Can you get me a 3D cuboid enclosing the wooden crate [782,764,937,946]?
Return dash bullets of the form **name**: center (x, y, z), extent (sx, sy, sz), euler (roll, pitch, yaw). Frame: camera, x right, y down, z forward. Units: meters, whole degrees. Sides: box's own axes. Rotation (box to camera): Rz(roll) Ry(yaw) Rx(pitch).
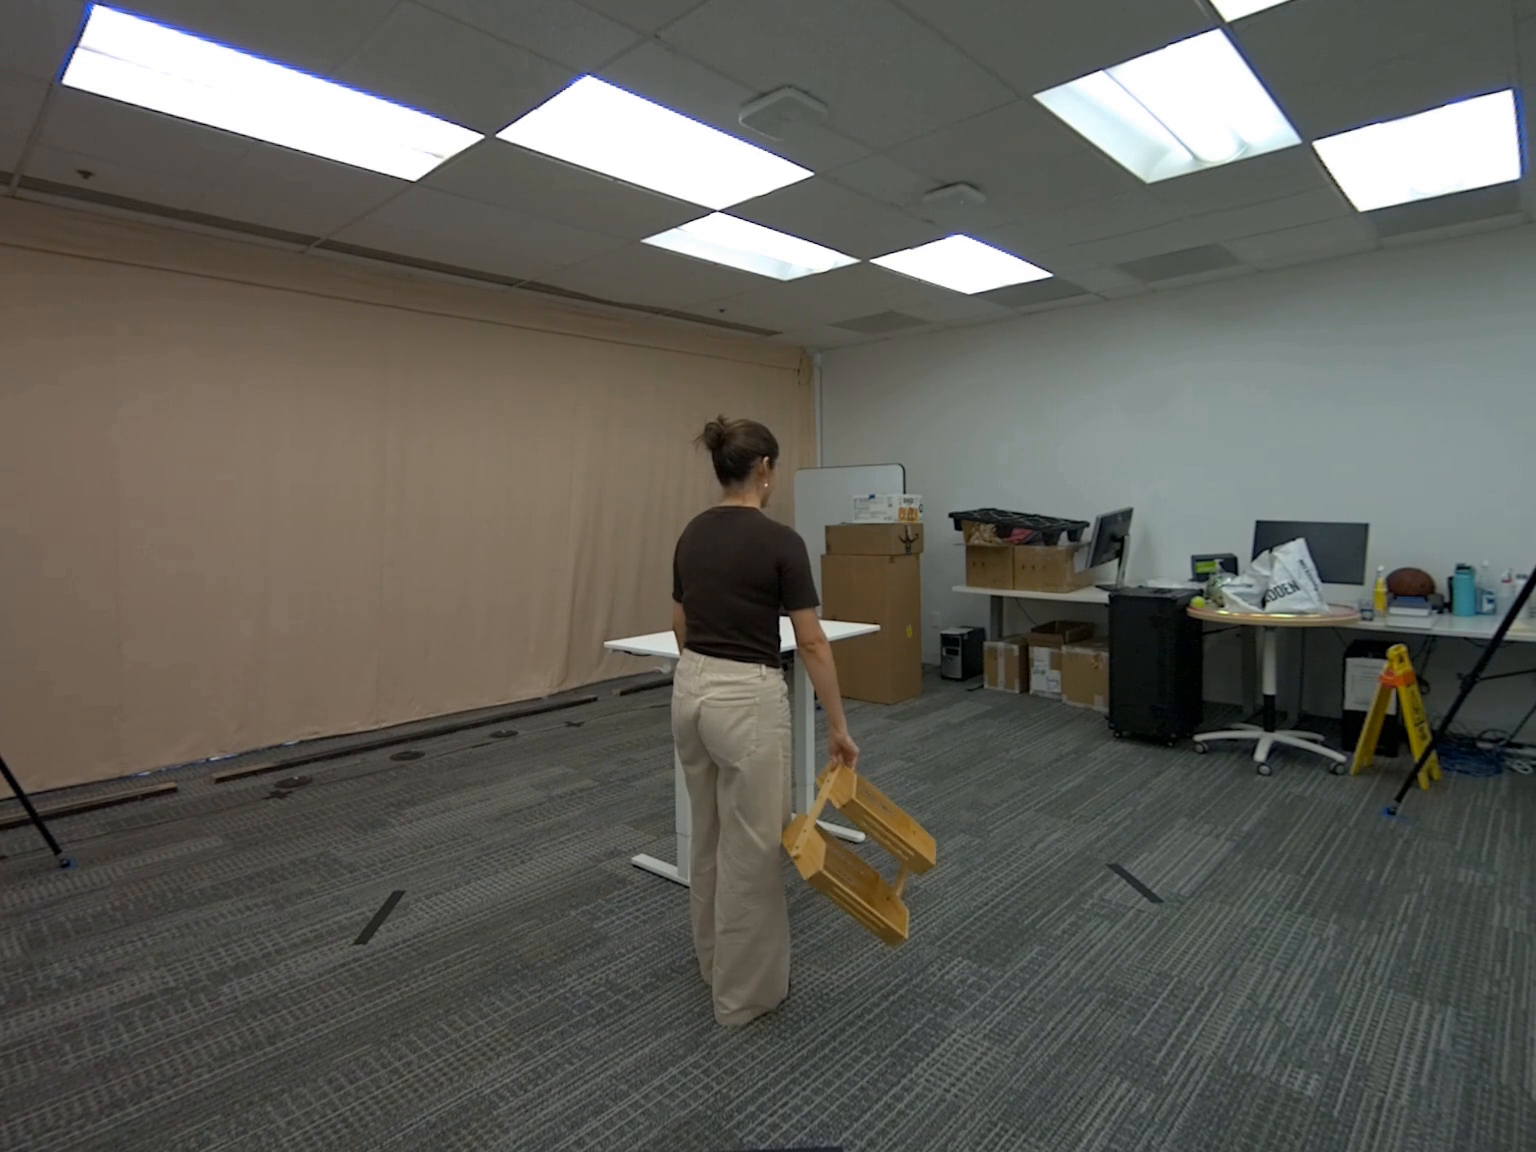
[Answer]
- **wooden crate**: center (0.245, 0.688, 2.156), extent (0.319, 0.273, 0.307), euler (41, -4, -15)
